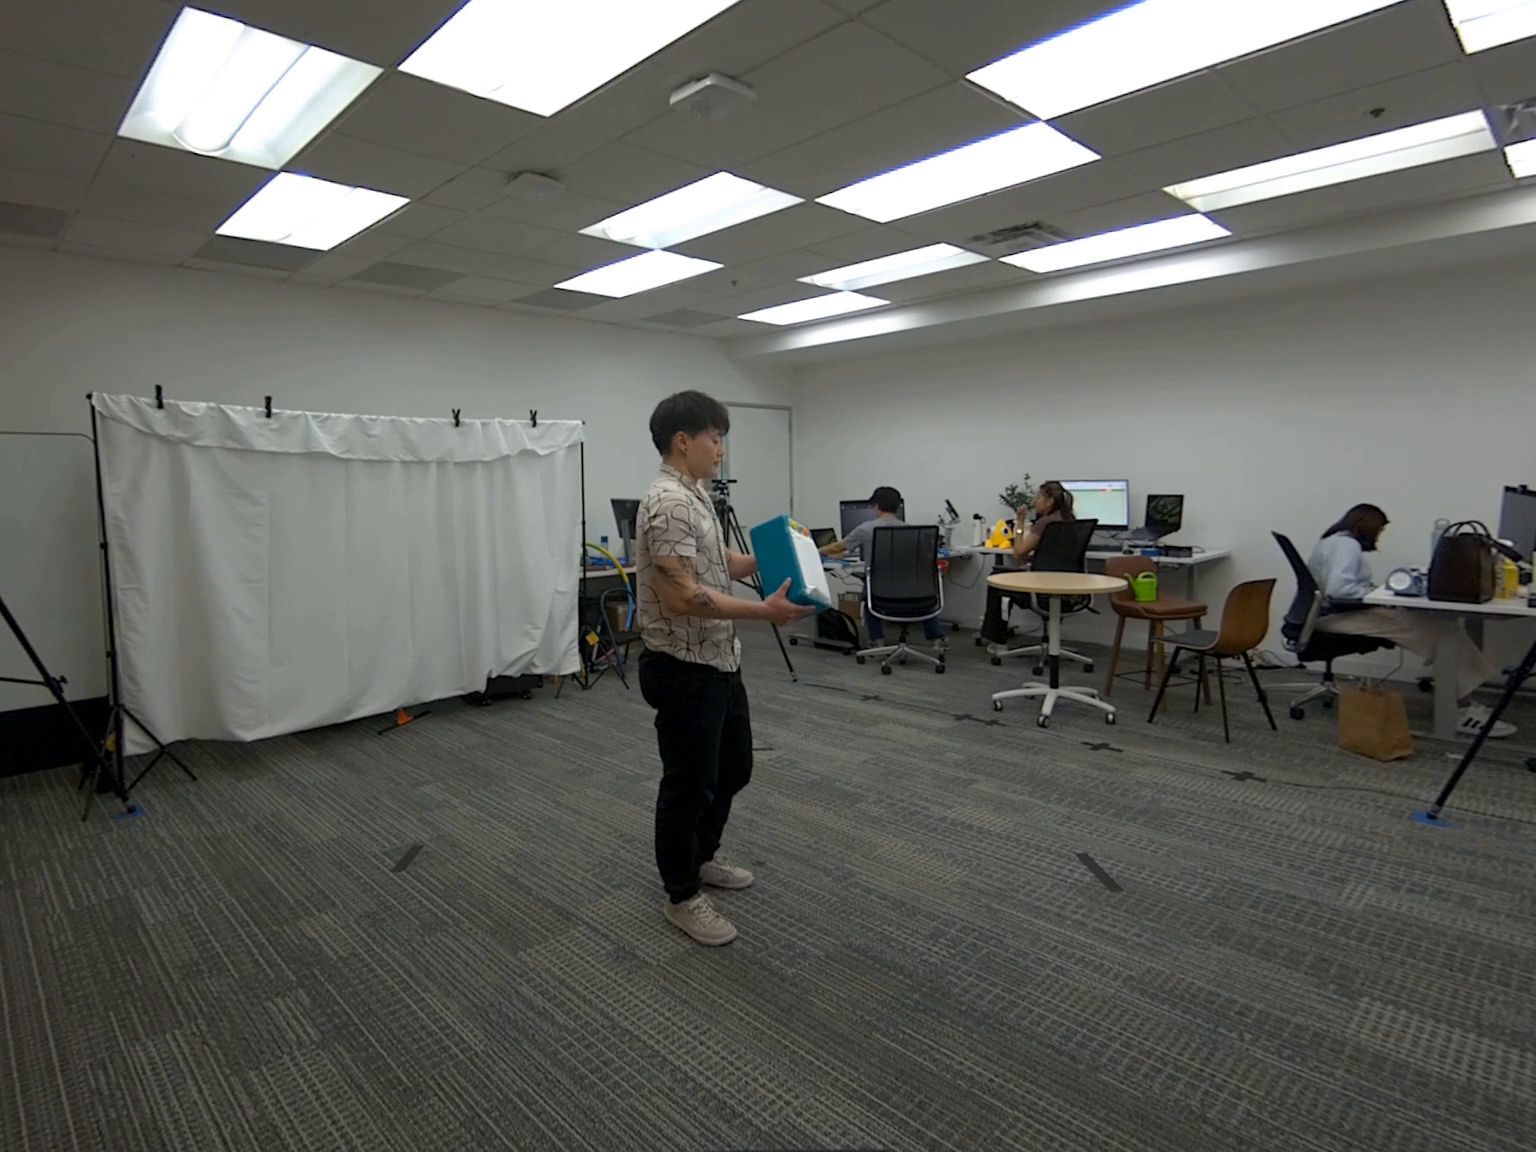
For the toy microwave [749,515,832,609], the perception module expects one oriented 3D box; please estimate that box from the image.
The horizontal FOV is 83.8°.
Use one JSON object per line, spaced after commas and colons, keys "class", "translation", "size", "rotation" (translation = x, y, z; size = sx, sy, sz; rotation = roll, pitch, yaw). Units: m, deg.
{"class": "toy microwave", "translation": [0.073, -0.022, 2.550], "size": [0.154, 0.293, 0.177], "rotation": [-25, -25, 25]}
